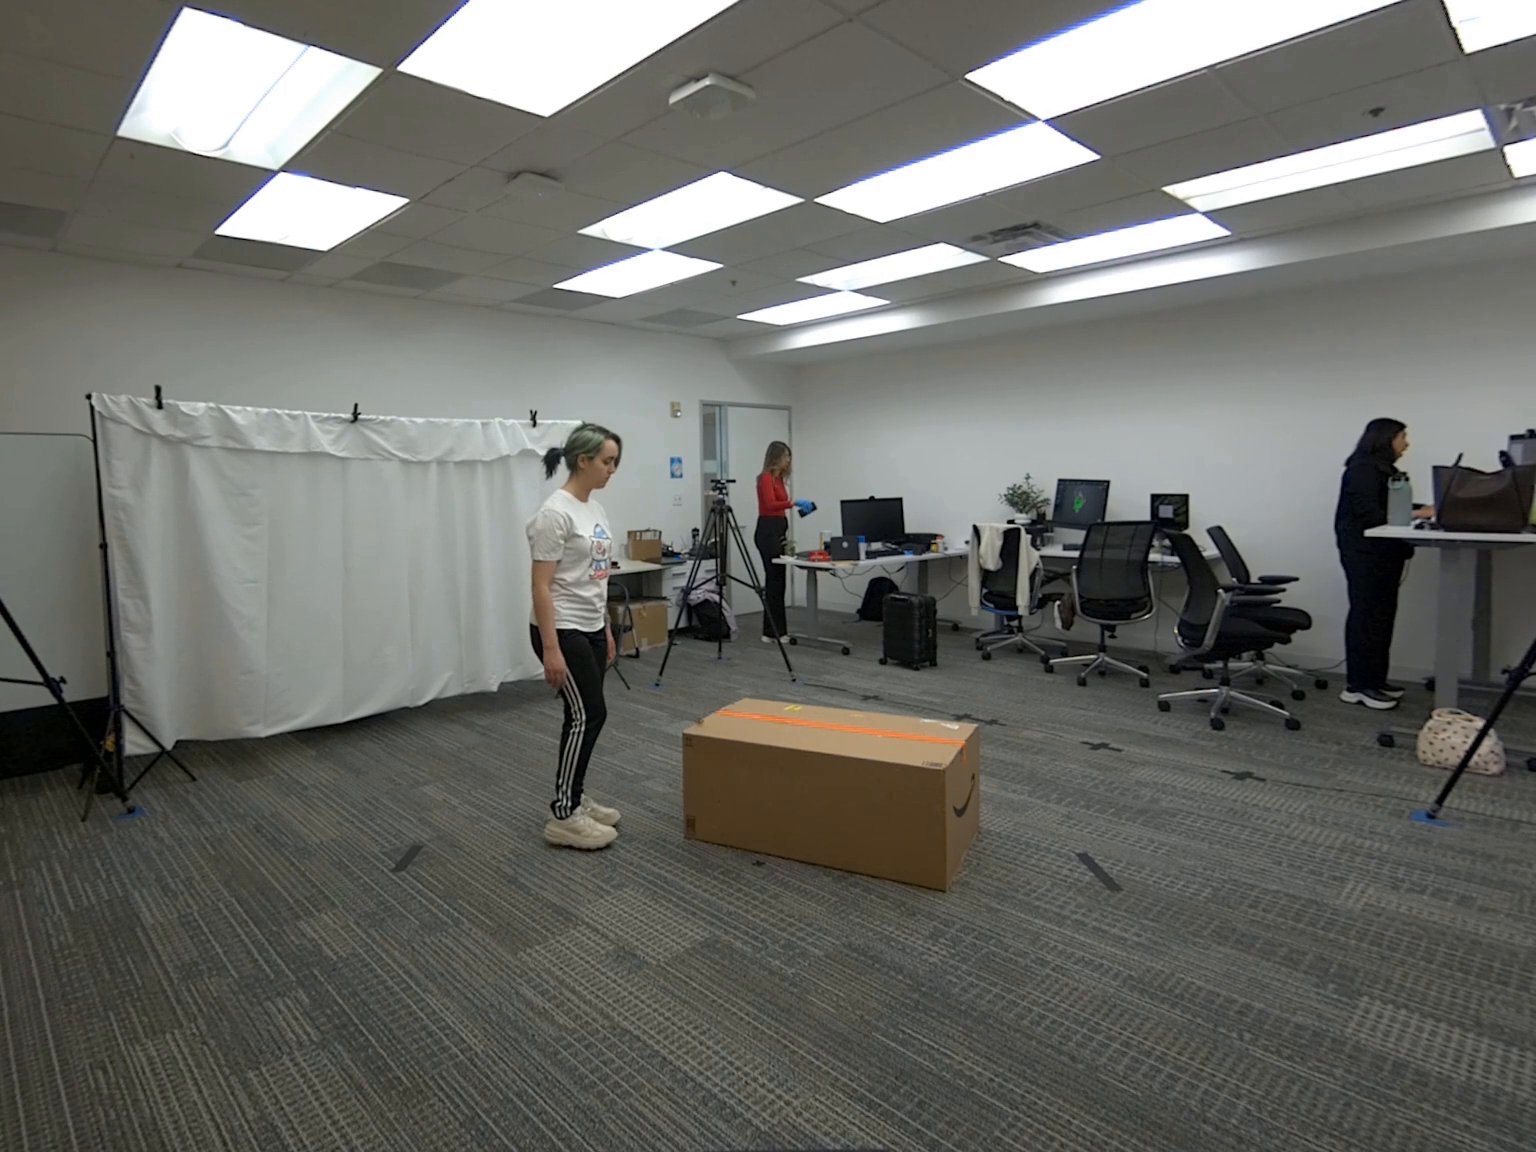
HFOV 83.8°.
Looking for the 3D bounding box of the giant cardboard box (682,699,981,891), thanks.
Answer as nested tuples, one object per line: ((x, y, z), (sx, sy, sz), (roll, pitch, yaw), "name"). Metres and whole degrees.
((0.246, 0.799, 3.339), (1.051, 0.425, 0.566), (2, 5, 27), "giant cardboard box")
